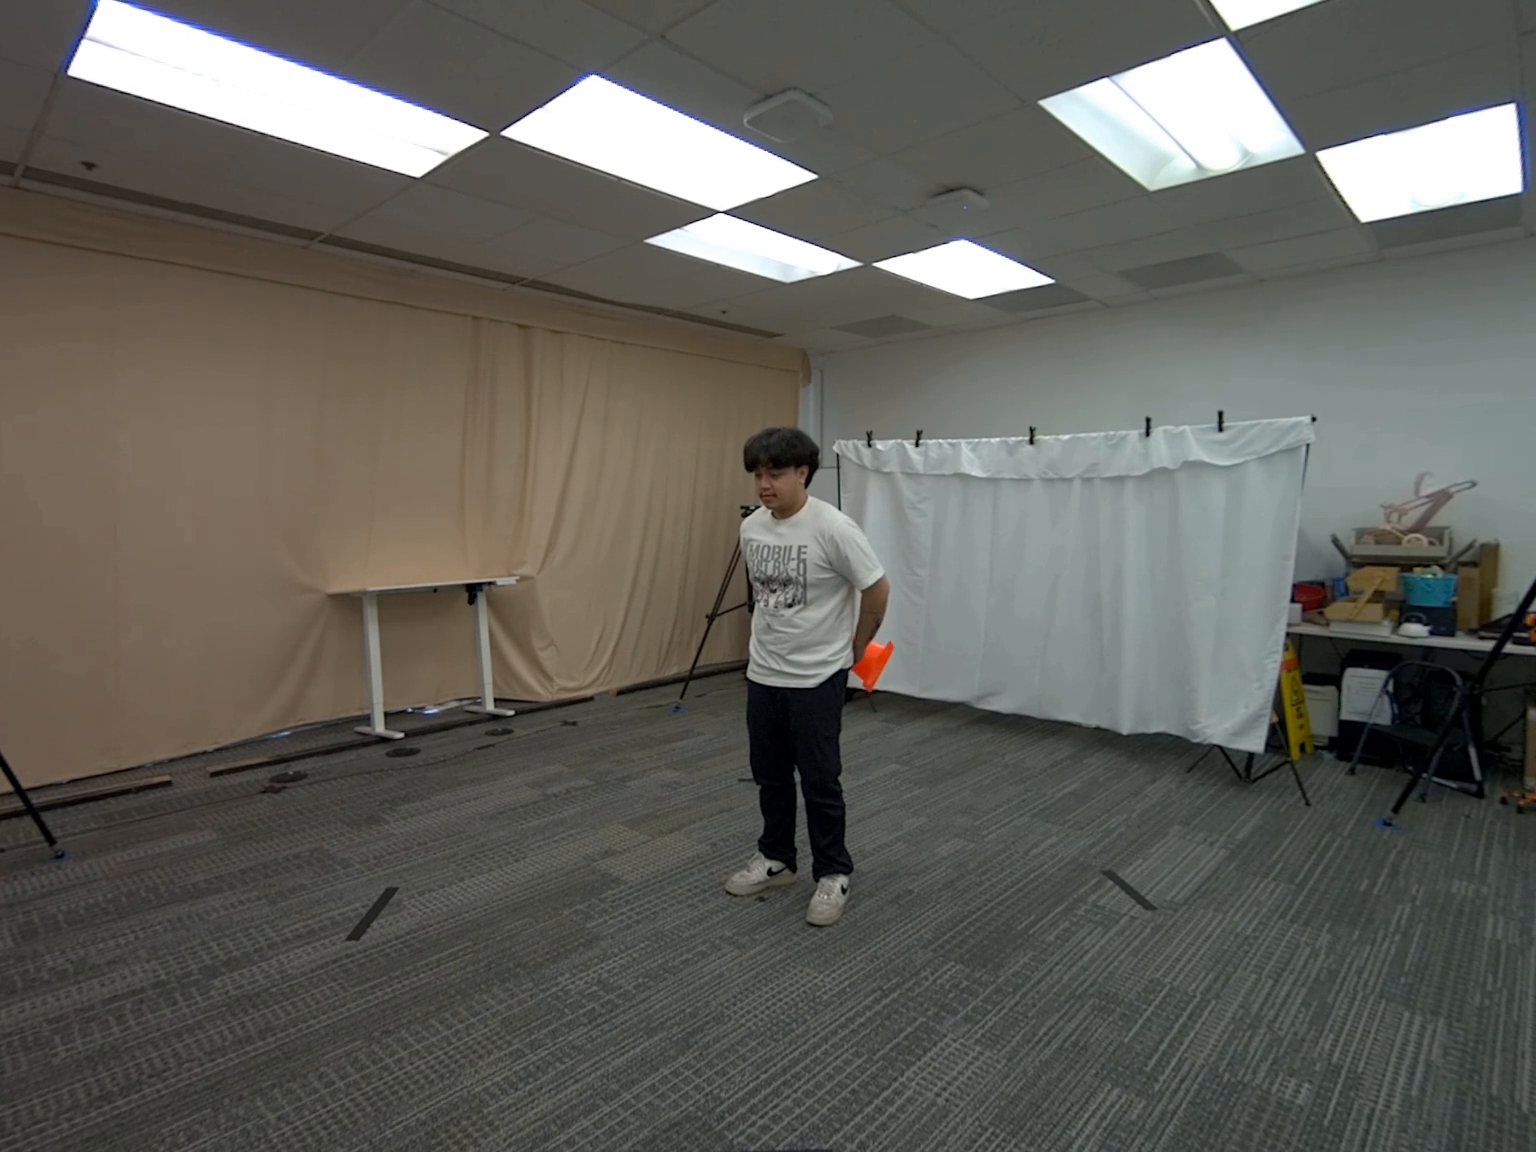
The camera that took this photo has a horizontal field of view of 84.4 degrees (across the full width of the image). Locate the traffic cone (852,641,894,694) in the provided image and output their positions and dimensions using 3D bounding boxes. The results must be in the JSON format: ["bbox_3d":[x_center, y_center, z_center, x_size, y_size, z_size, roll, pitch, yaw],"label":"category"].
[{"bbox_3d":[0.258,0.255,3.220,0.394,0.203,0.199,29,-4,23],"label":"traffic cone"}]
